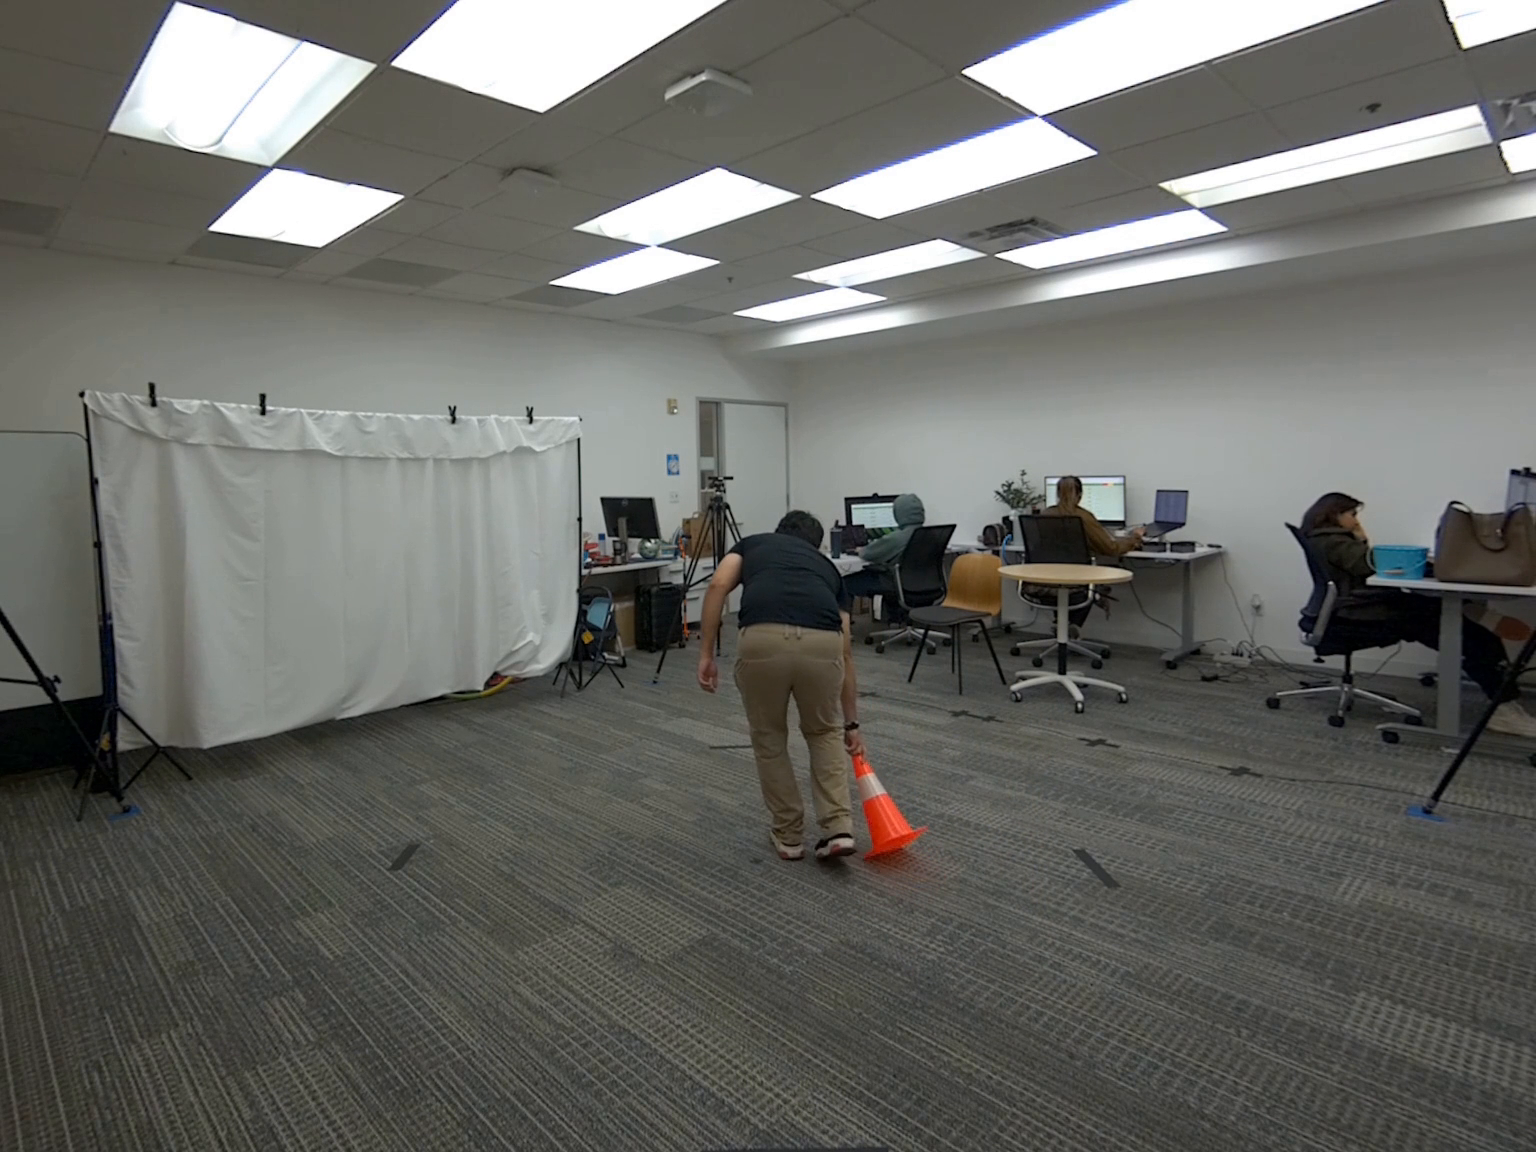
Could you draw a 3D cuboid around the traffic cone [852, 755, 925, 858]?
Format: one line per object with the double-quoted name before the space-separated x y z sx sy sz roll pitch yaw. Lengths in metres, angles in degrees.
"traffic cone" 0.390 0.812 3.176 0.198 0.395 0.204 -3 -34 -33
